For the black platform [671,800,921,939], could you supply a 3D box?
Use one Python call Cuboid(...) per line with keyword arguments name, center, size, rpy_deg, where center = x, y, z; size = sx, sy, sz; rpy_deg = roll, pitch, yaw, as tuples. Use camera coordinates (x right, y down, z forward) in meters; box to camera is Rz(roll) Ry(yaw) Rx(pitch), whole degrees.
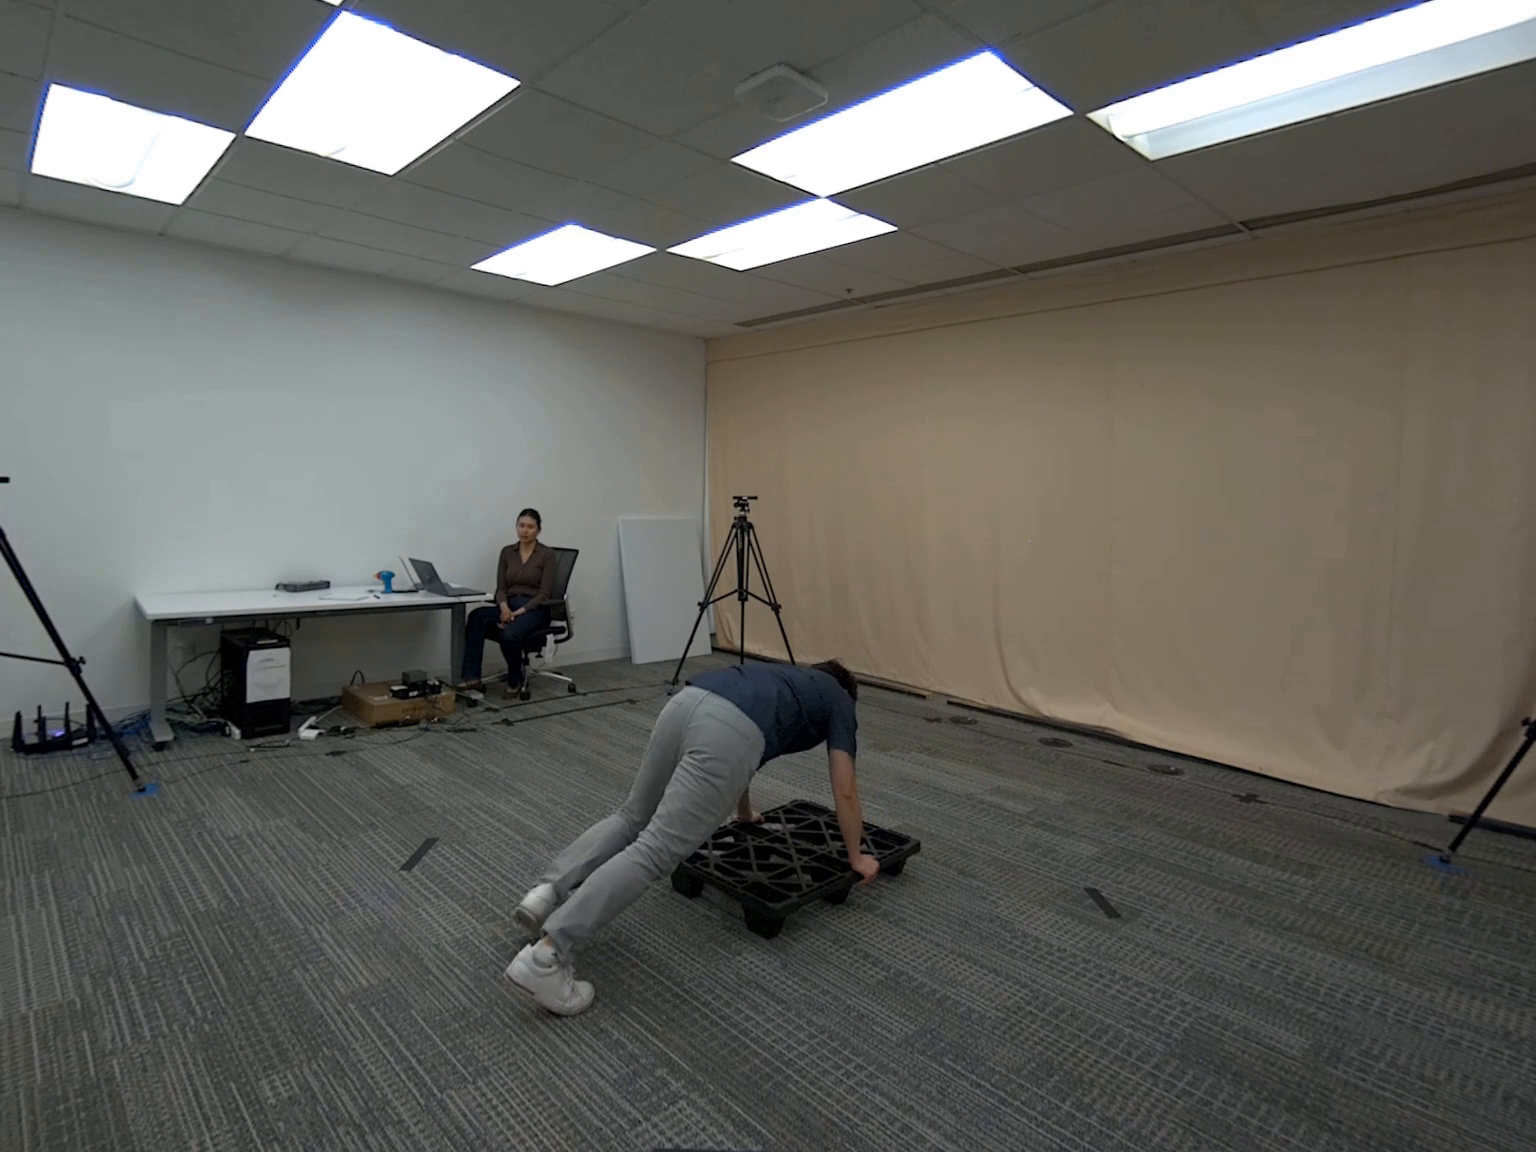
Cuboid(name="black platform", center=(0.083, 1.046, 3.066), size=(0.621, 0.143, 0.787), rpy_deg=(6, 7, 44))
